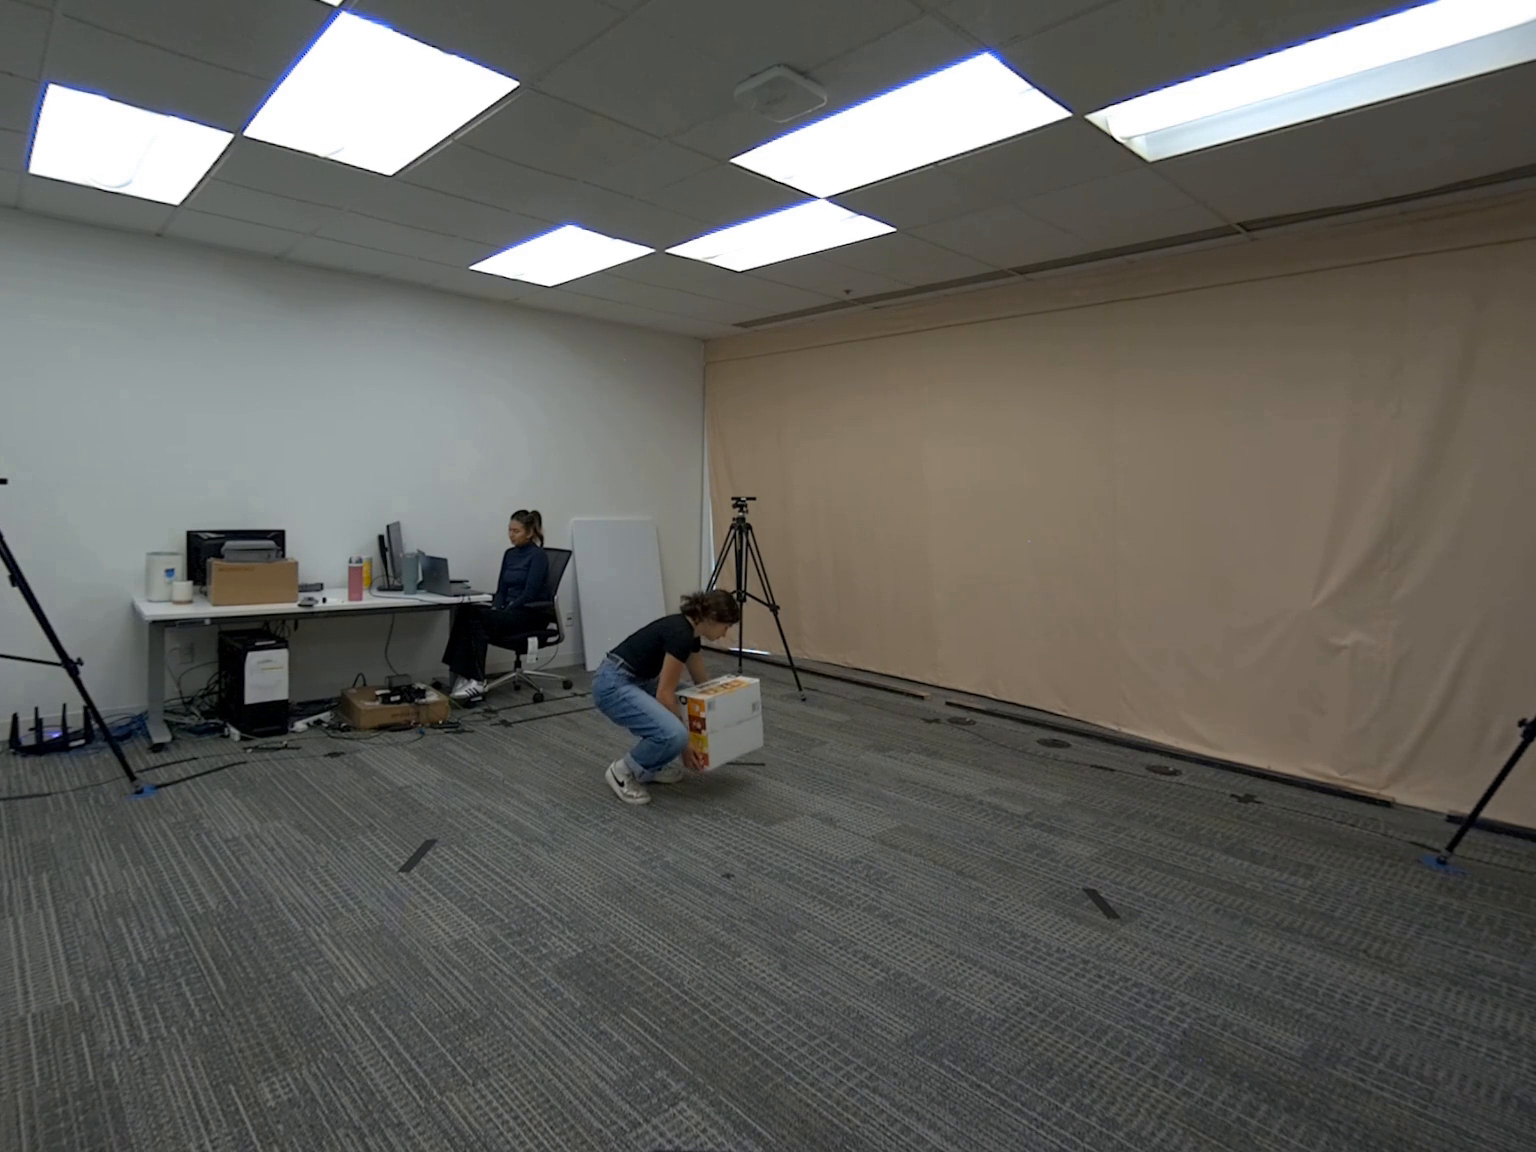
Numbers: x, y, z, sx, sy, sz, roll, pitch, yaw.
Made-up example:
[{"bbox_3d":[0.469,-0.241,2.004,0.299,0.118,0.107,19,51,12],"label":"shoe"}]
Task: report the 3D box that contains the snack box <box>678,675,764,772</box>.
[{"bbox_3d":[-0.246,0.689,4.036,0.211,0.338,0.397,2,9,39],"label":"snack box"}]
